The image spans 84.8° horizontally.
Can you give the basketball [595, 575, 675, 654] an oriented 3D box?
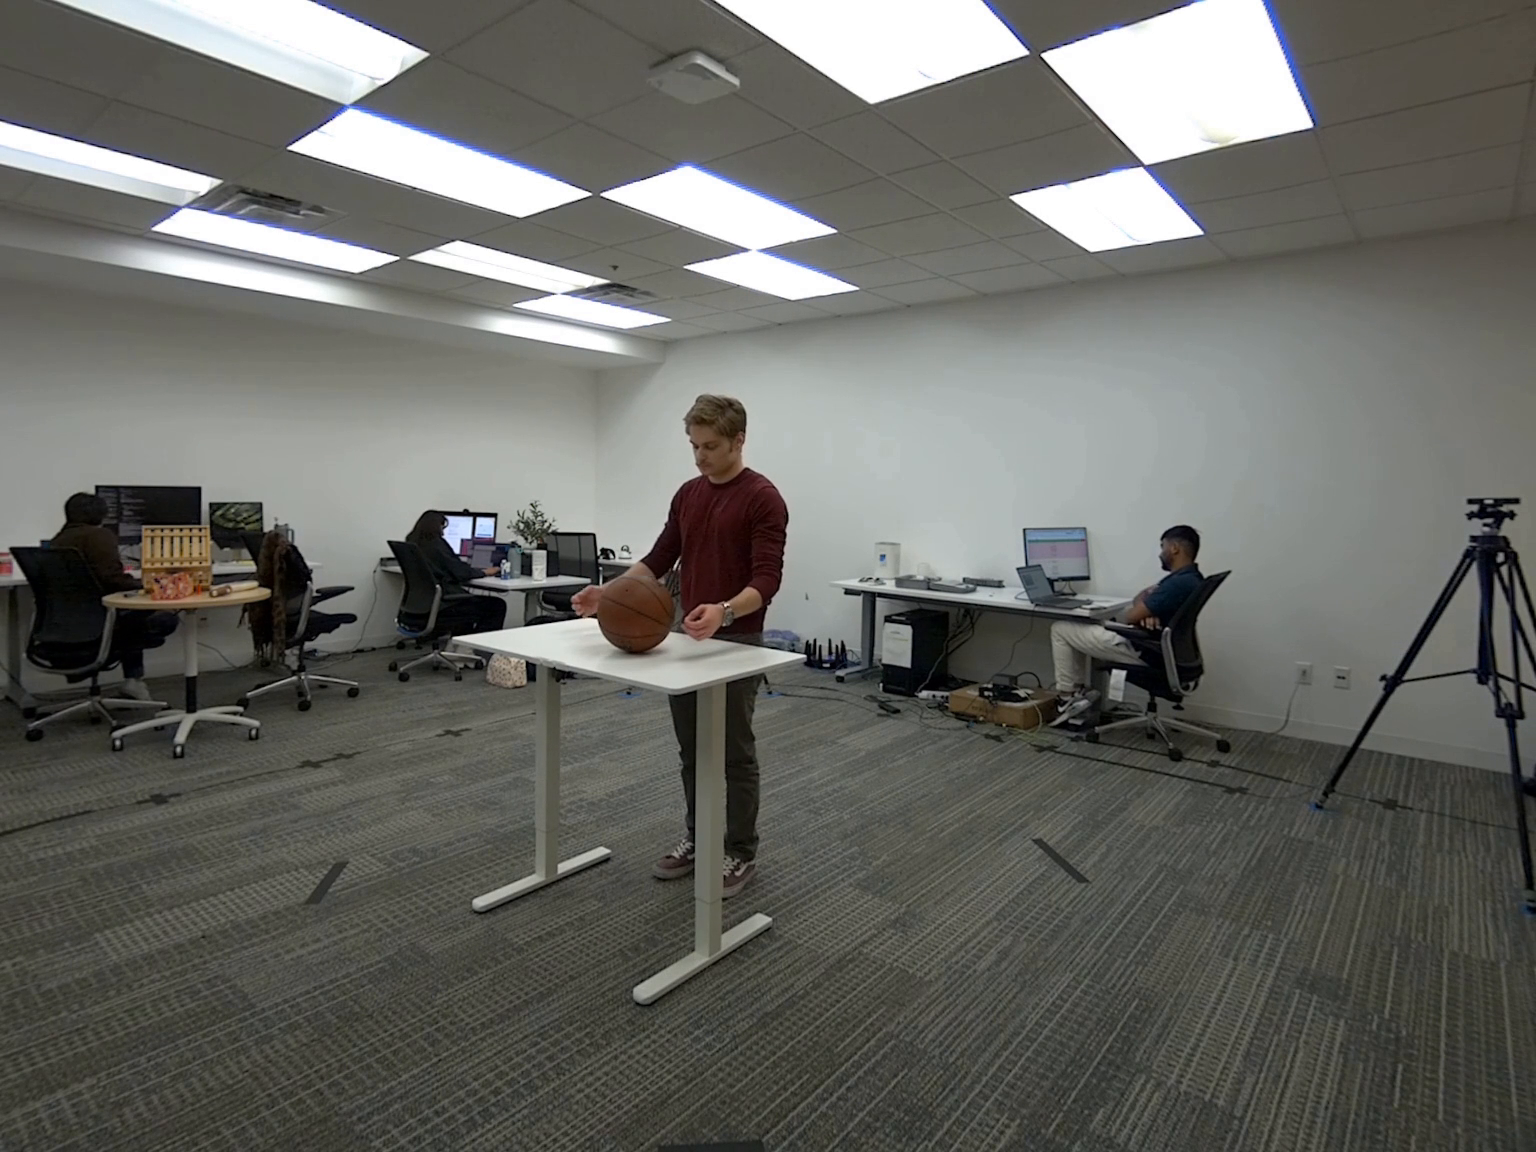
[{"bbox_3d":[-0.417,0.104,2.619,0.235,0.235,0.237,1,4,-2],"label":"basketball"}]
